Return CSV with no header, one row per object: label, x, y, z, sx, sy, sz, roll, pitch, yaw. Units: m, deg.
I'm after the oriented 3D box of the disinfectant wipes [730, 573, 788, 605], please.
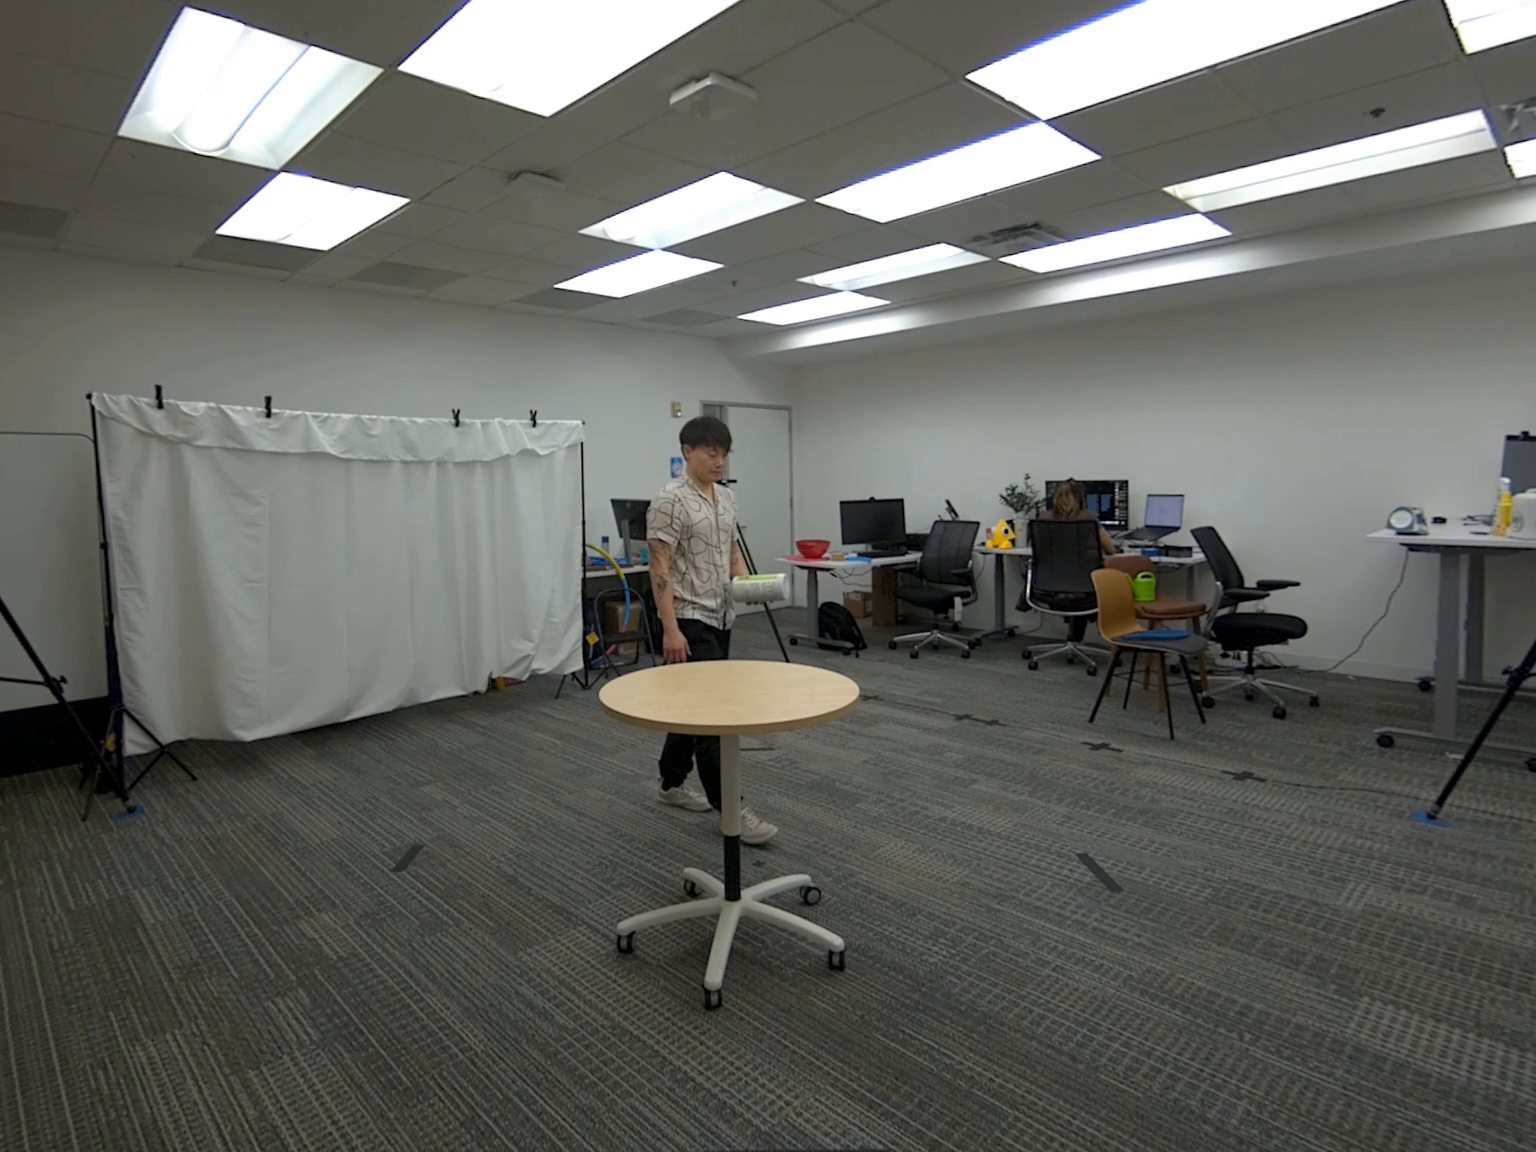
disinfectant wipes,-0.035,0.050,3.425,0.220,0.117,0.116,-5,3,14
